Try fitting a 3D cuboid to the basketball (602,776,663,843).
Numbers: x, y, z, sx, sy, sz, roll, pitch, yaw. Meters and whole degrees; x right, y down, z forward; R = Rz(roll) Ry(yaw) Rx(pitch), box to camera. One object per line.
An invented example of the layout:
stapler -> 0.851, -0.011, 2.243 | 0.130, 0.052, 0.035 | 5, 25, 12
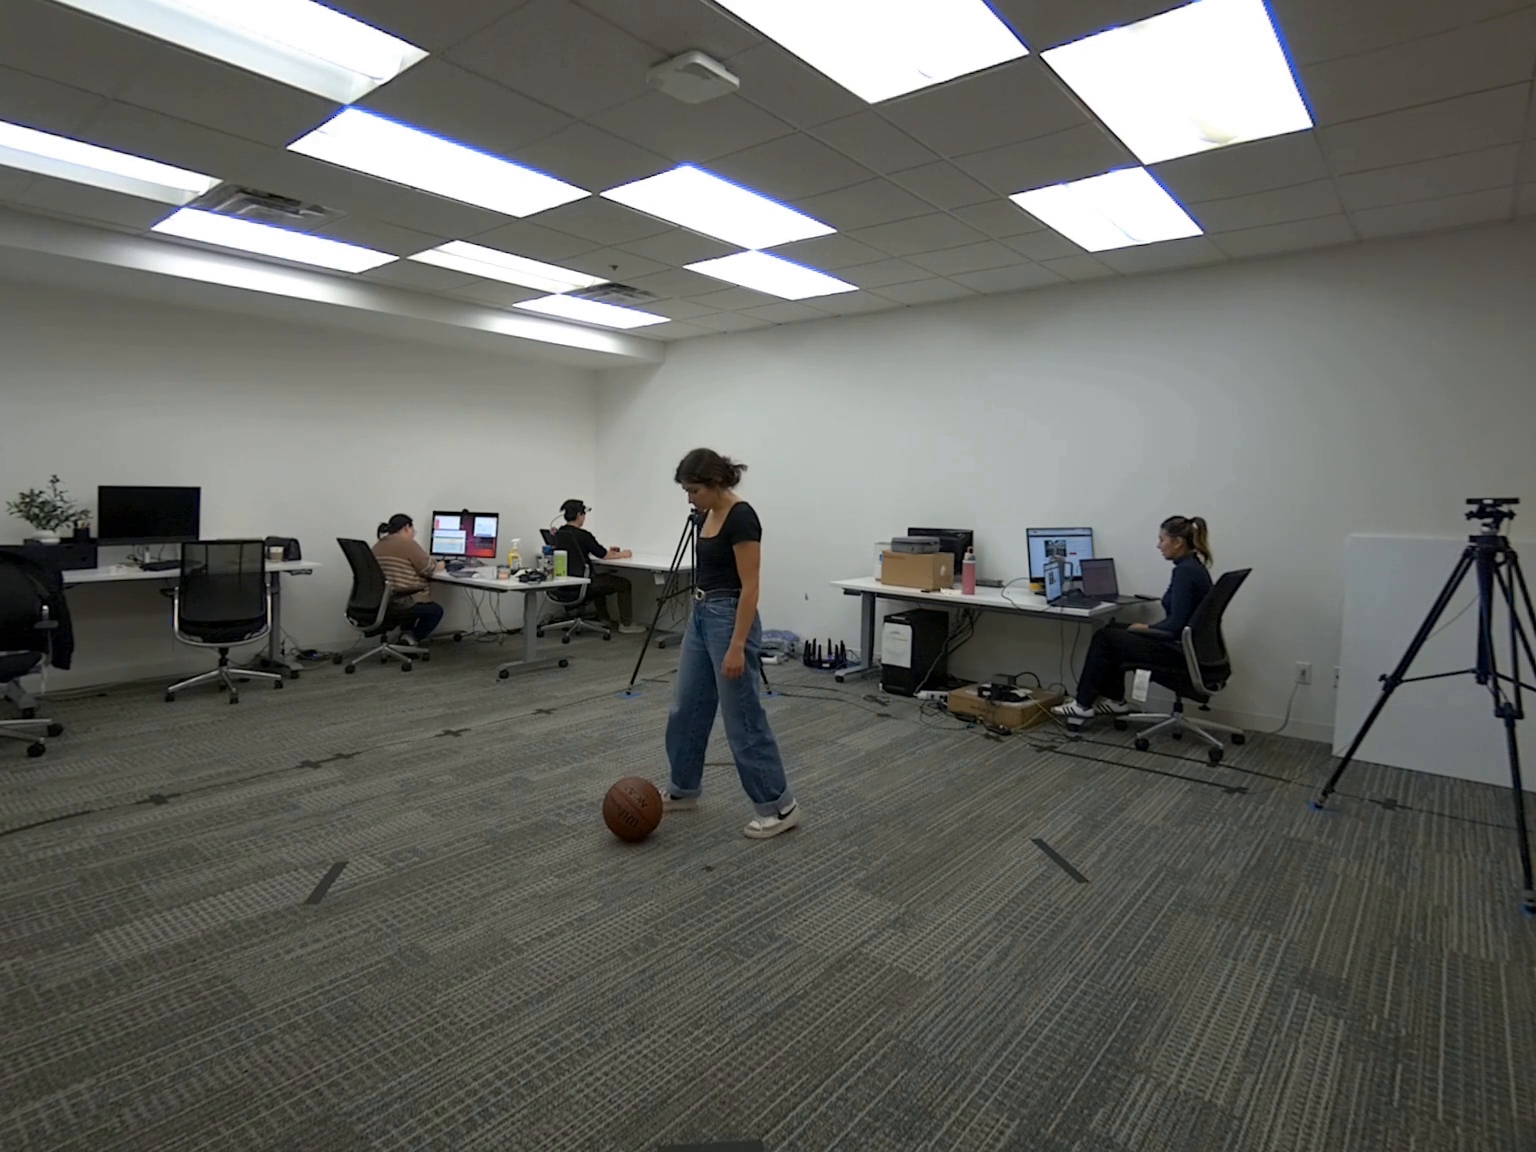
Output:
basketball -> -0.543, 0.912, 3.366 | 0.235, 0.235, 0.237 | 1, 4, -2
